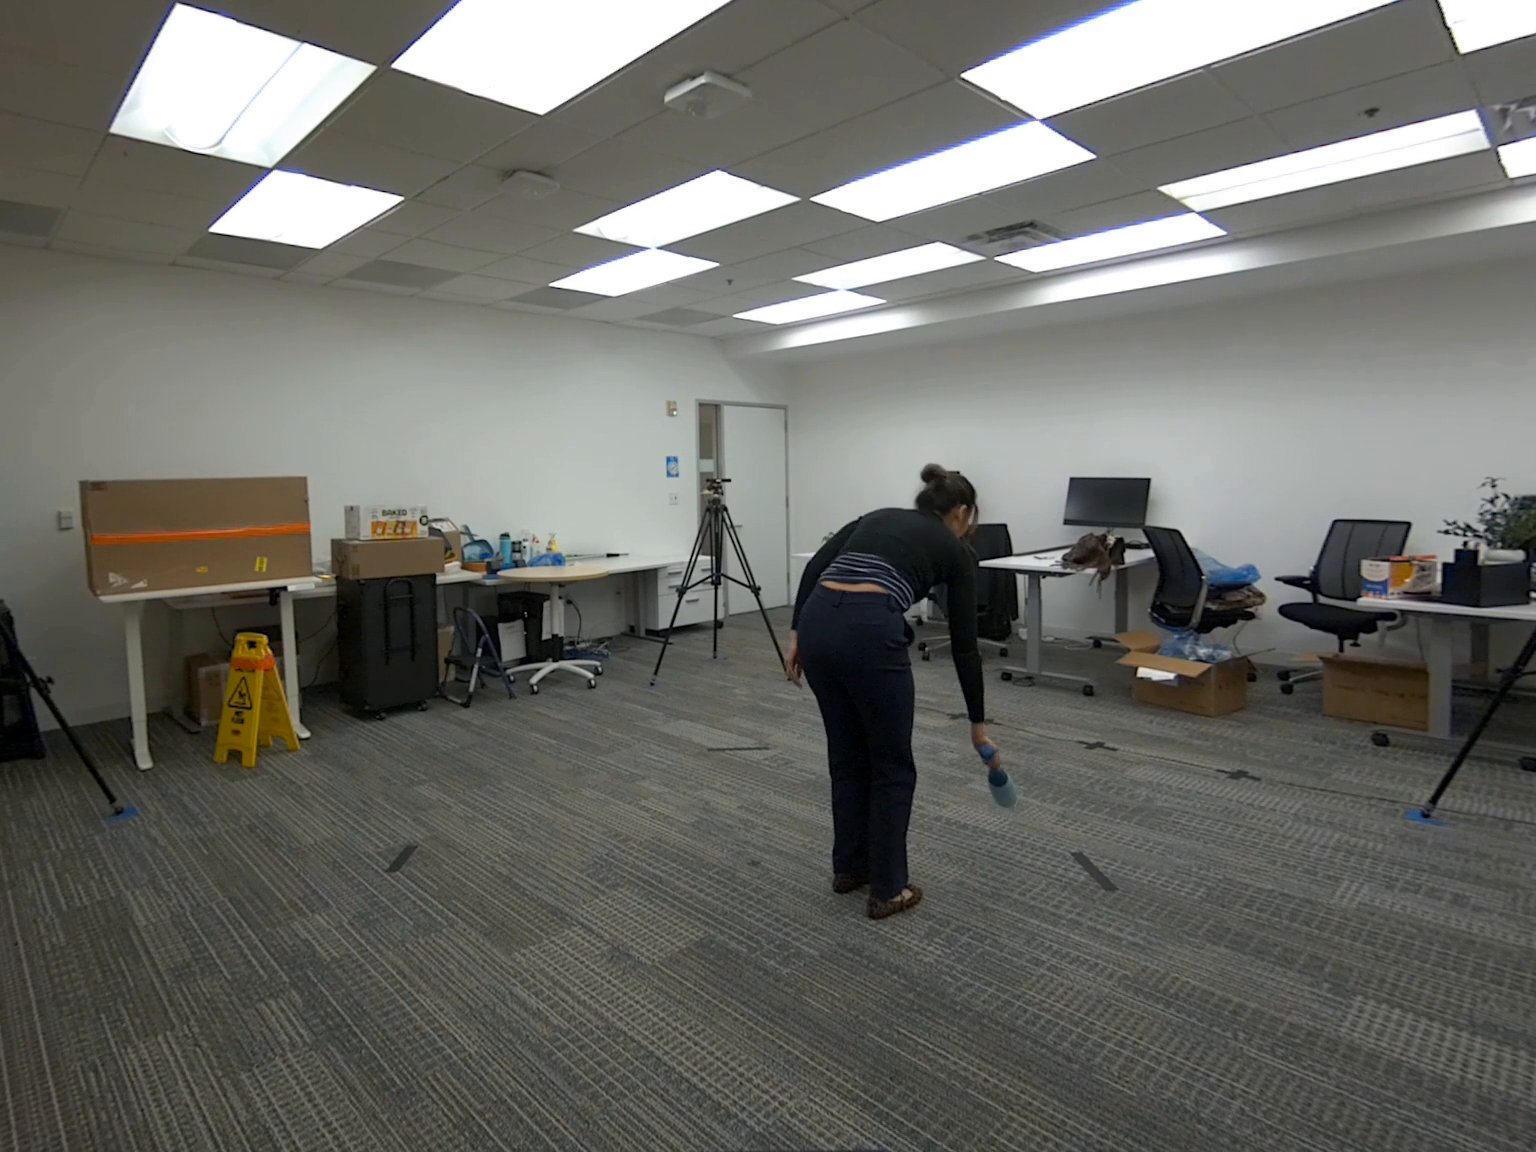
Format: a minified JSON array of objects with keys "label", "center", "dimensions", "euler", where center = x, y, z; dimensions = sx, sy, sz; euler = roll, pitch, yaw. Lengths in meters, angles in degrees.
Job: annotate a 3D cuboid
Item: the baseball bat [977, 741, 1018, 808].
[{"label":"baseball bat","center":[0.798,0.694,2.961],"dimensions":[0.091,0.090,0.523],"euler":[2,-29,23]}]
